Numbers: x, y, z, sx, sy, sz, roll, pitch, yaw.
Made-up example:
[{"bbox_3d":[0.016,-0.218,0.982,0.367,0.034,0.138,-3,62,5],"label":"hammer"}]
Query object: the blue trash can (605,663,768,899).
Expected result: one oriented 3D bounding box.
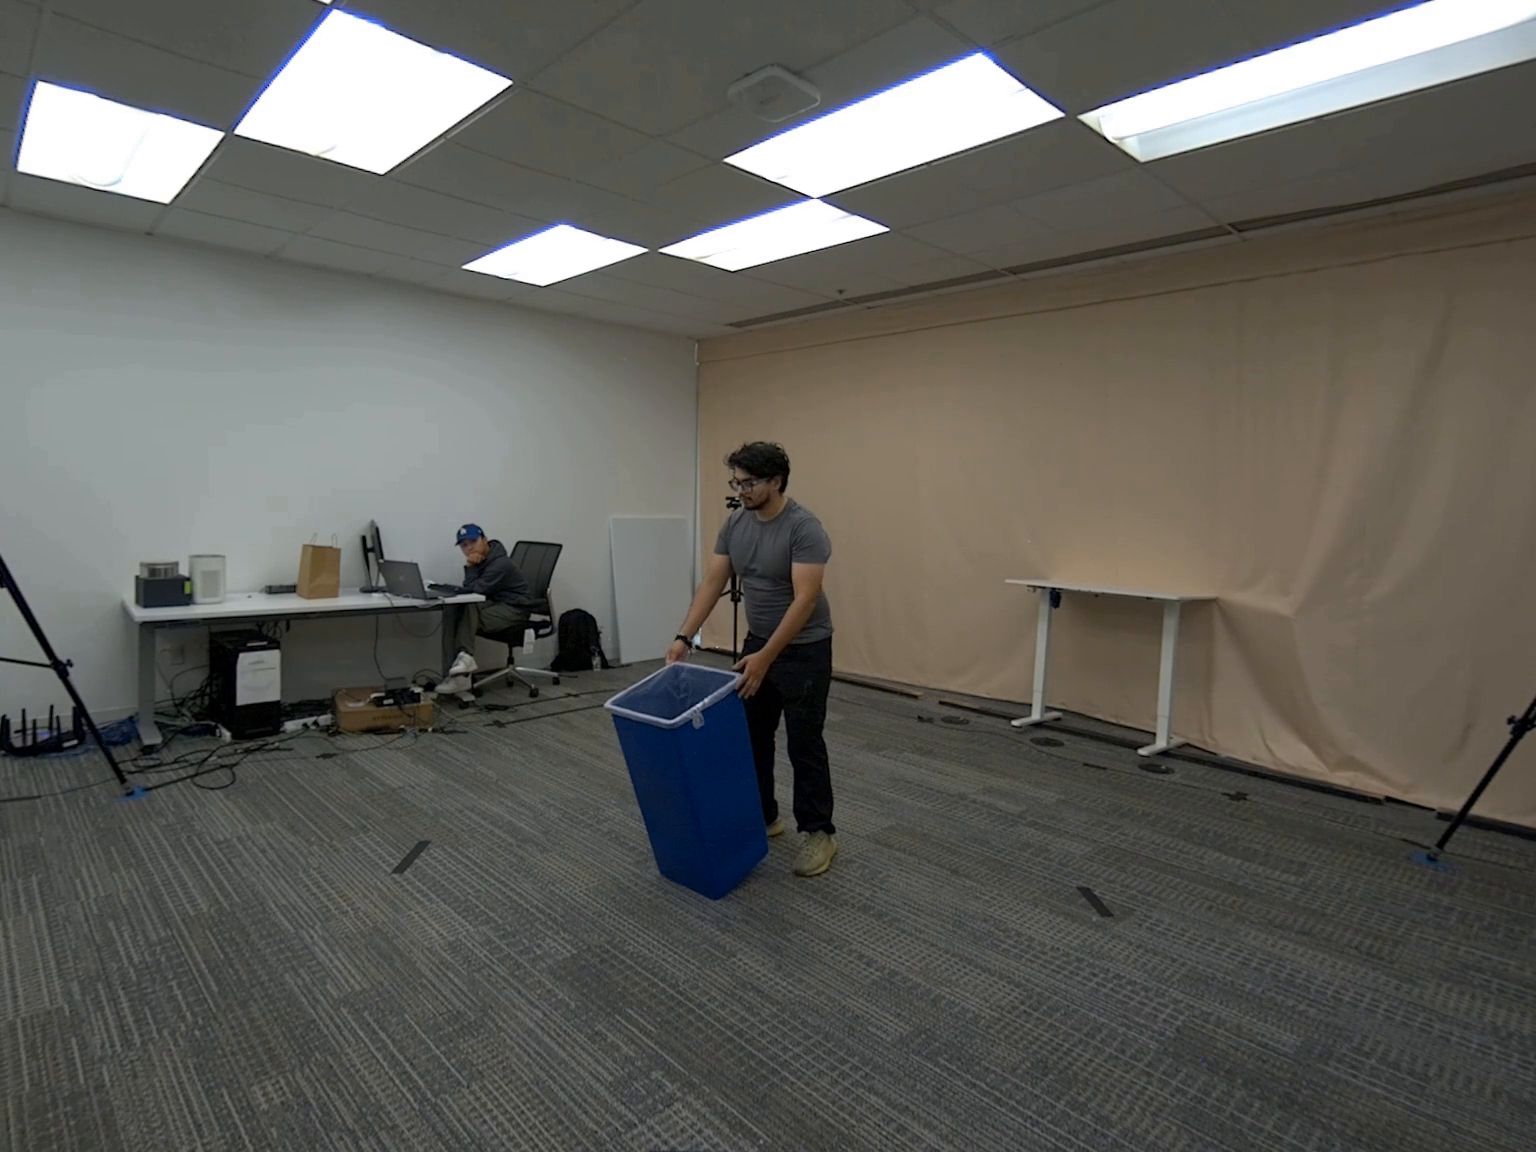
[{"bbox_3d":[-0.279,0.728,3.013,0.383,0.704,0.373,4,21,41],"label":"blue trash can"}]
